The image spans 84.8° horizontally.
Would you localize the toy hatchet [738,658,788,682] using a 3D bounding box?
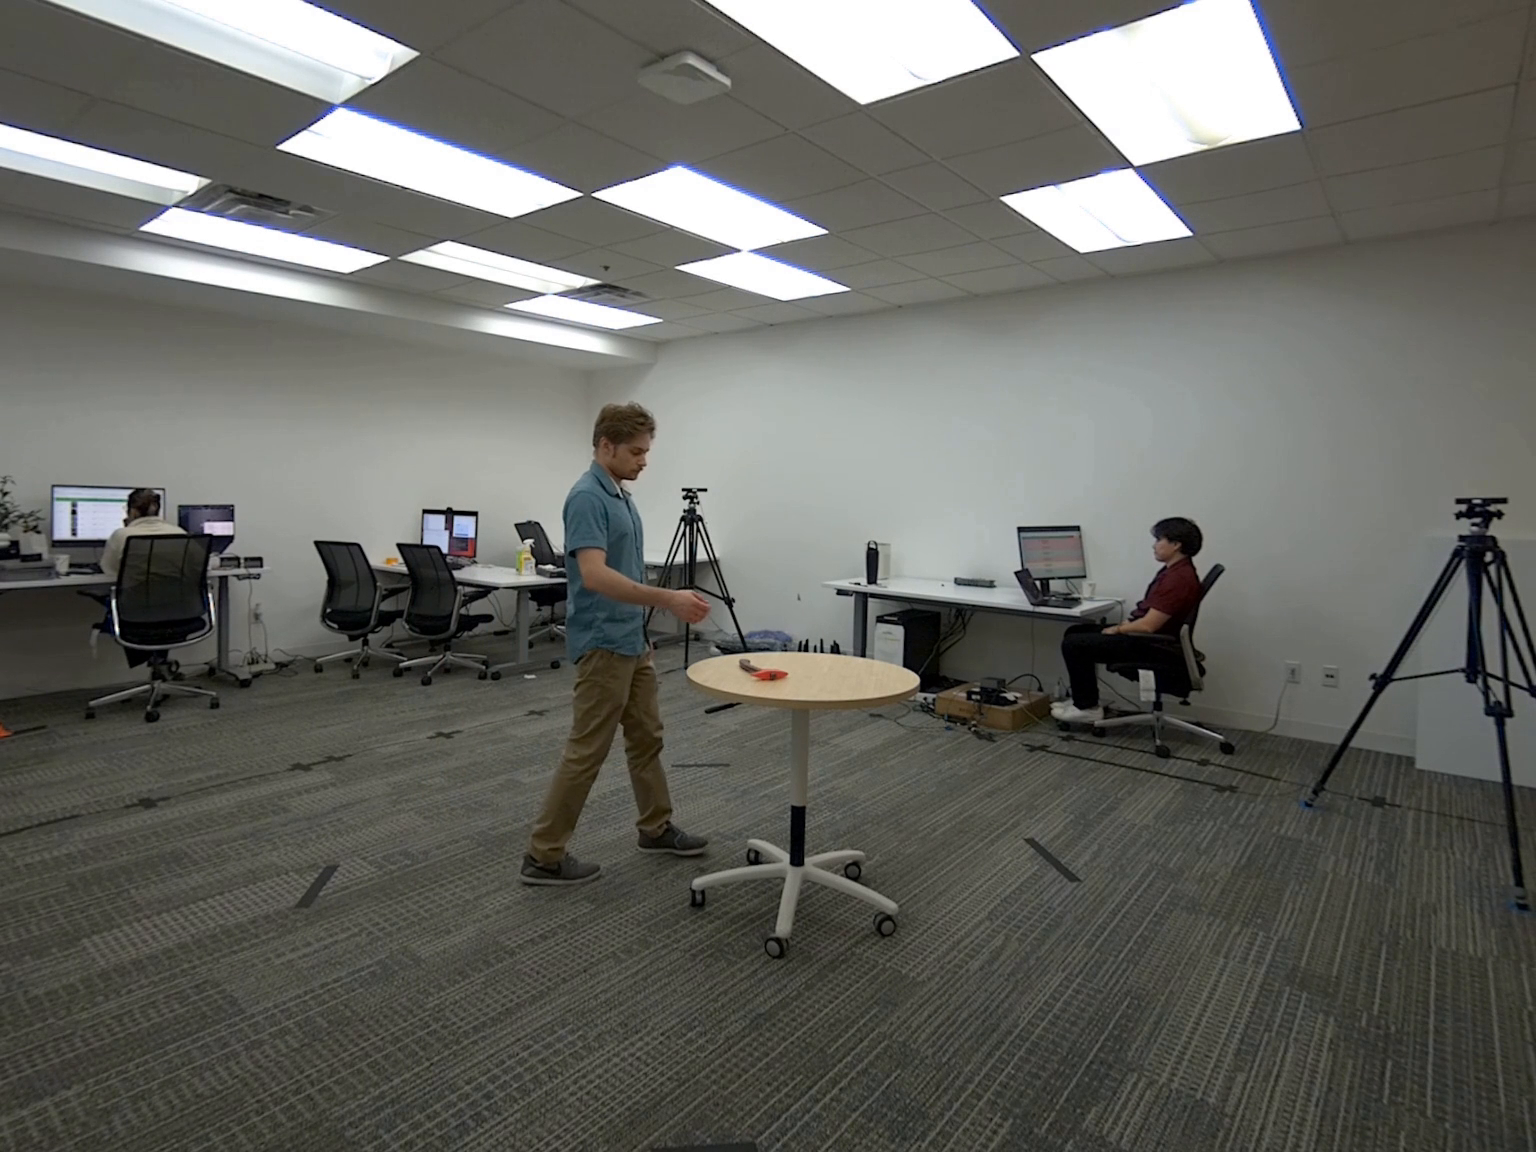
[{"bbox_3d":[-0.023,0.305,2.821,0.130,0.029,0.273,-1,5,-9],"label":"toy hatchet"}]
